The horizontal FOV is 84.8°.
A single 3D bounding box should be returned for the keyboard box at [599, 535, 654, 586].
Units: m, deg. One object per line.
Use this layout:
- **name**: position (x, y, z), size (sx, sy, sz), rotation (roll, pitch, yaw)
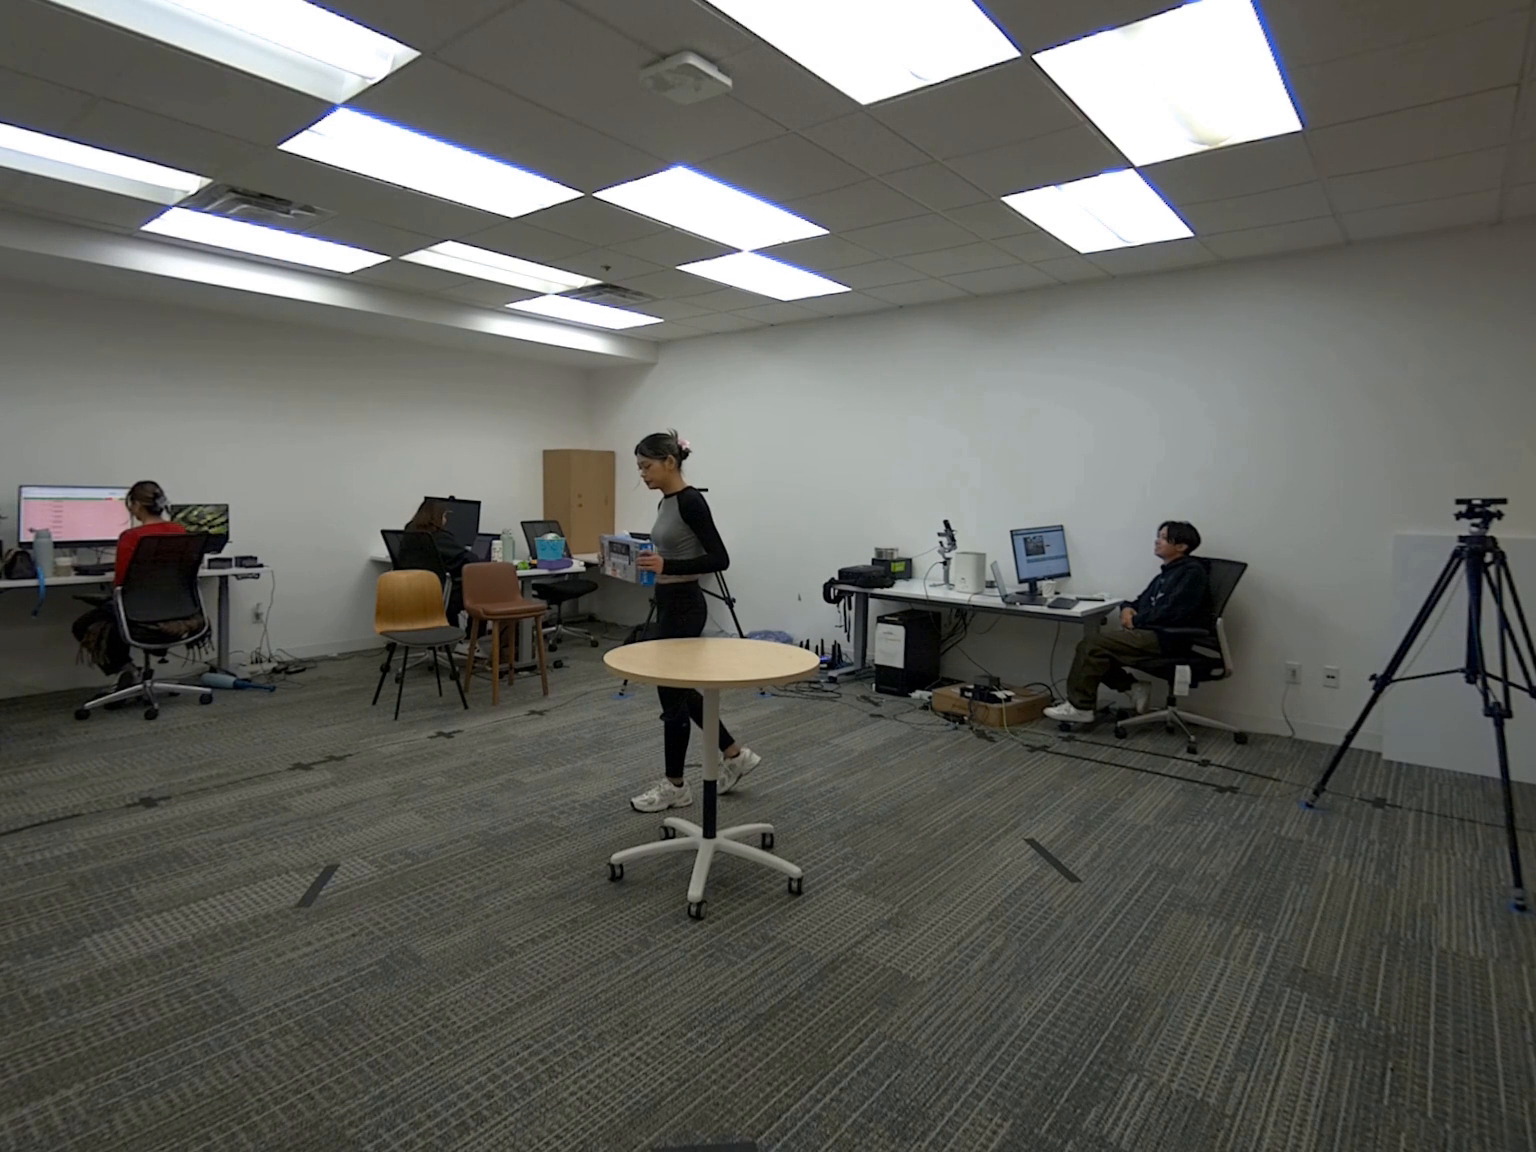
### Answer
- **keyboard box**: position (-0.622, -0.078, 3.627), size (0.057, 0.175, 0.451), rotation (-2, 8, -32)
